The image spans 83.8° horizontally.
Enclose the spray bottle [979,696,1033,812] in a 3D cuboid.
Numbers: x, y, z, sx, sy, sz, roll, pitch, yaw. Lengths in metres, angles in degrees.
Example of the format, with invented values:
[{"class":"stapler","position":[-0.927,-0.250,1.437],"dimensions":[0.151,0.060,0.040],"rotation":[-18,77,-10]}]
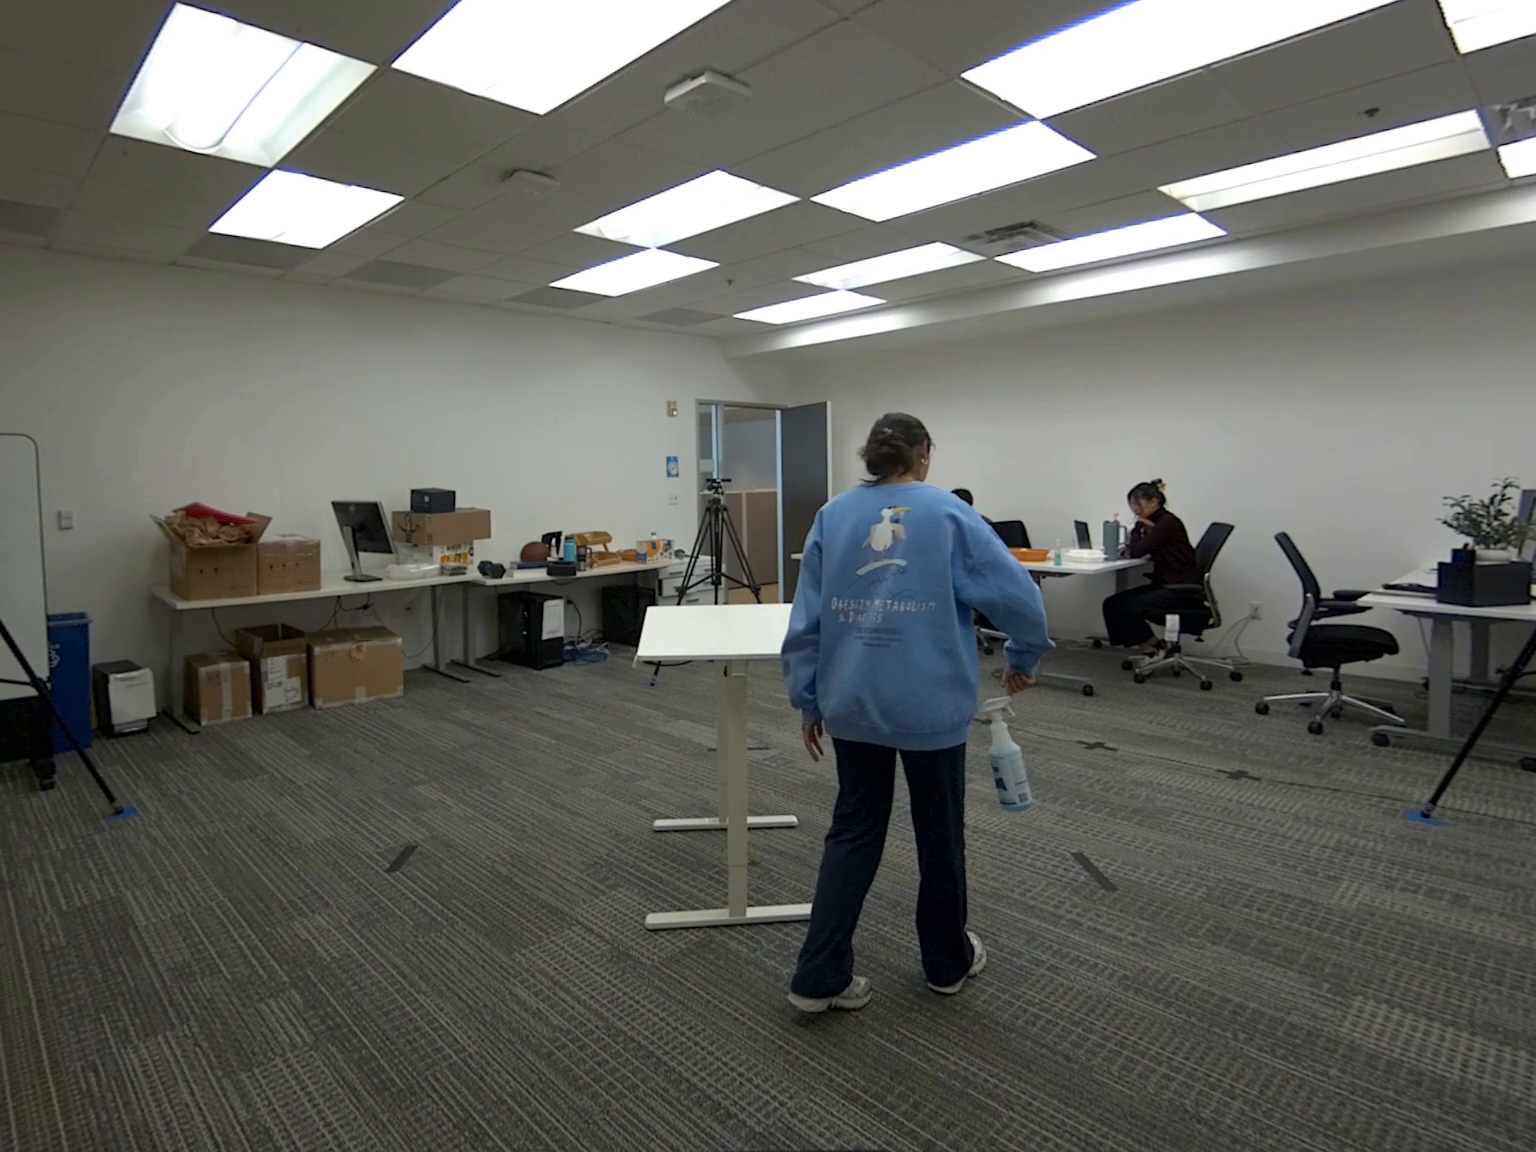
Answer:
[{"class":"spray bottle","position":[0.641,0.477,2.327],"dimensions":[0.085,0.298,0.092],"rotation":[-10,-2,-42]}]
